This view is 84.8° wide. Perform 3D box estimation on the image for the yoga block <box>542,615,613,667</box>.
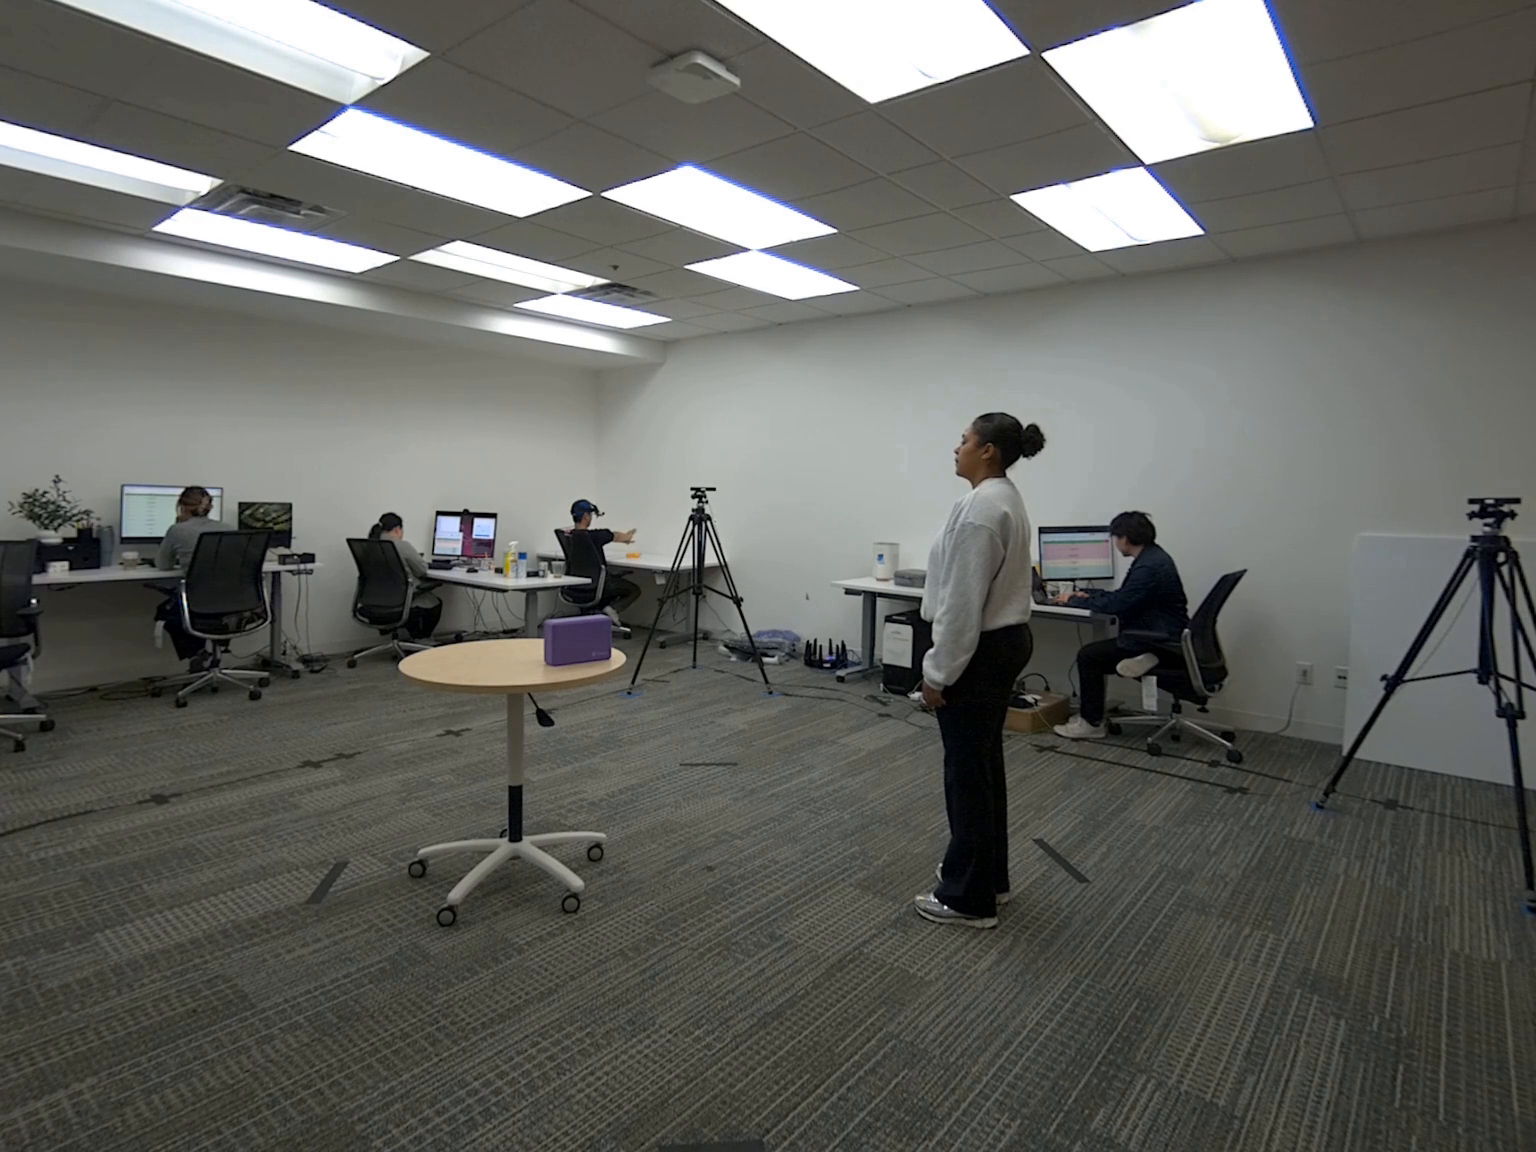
[{"bbox_3d":[-0.668,0.218,2.937,0.223,0.148,0.079,-4,6,-37],"label":"yoga block"}]
